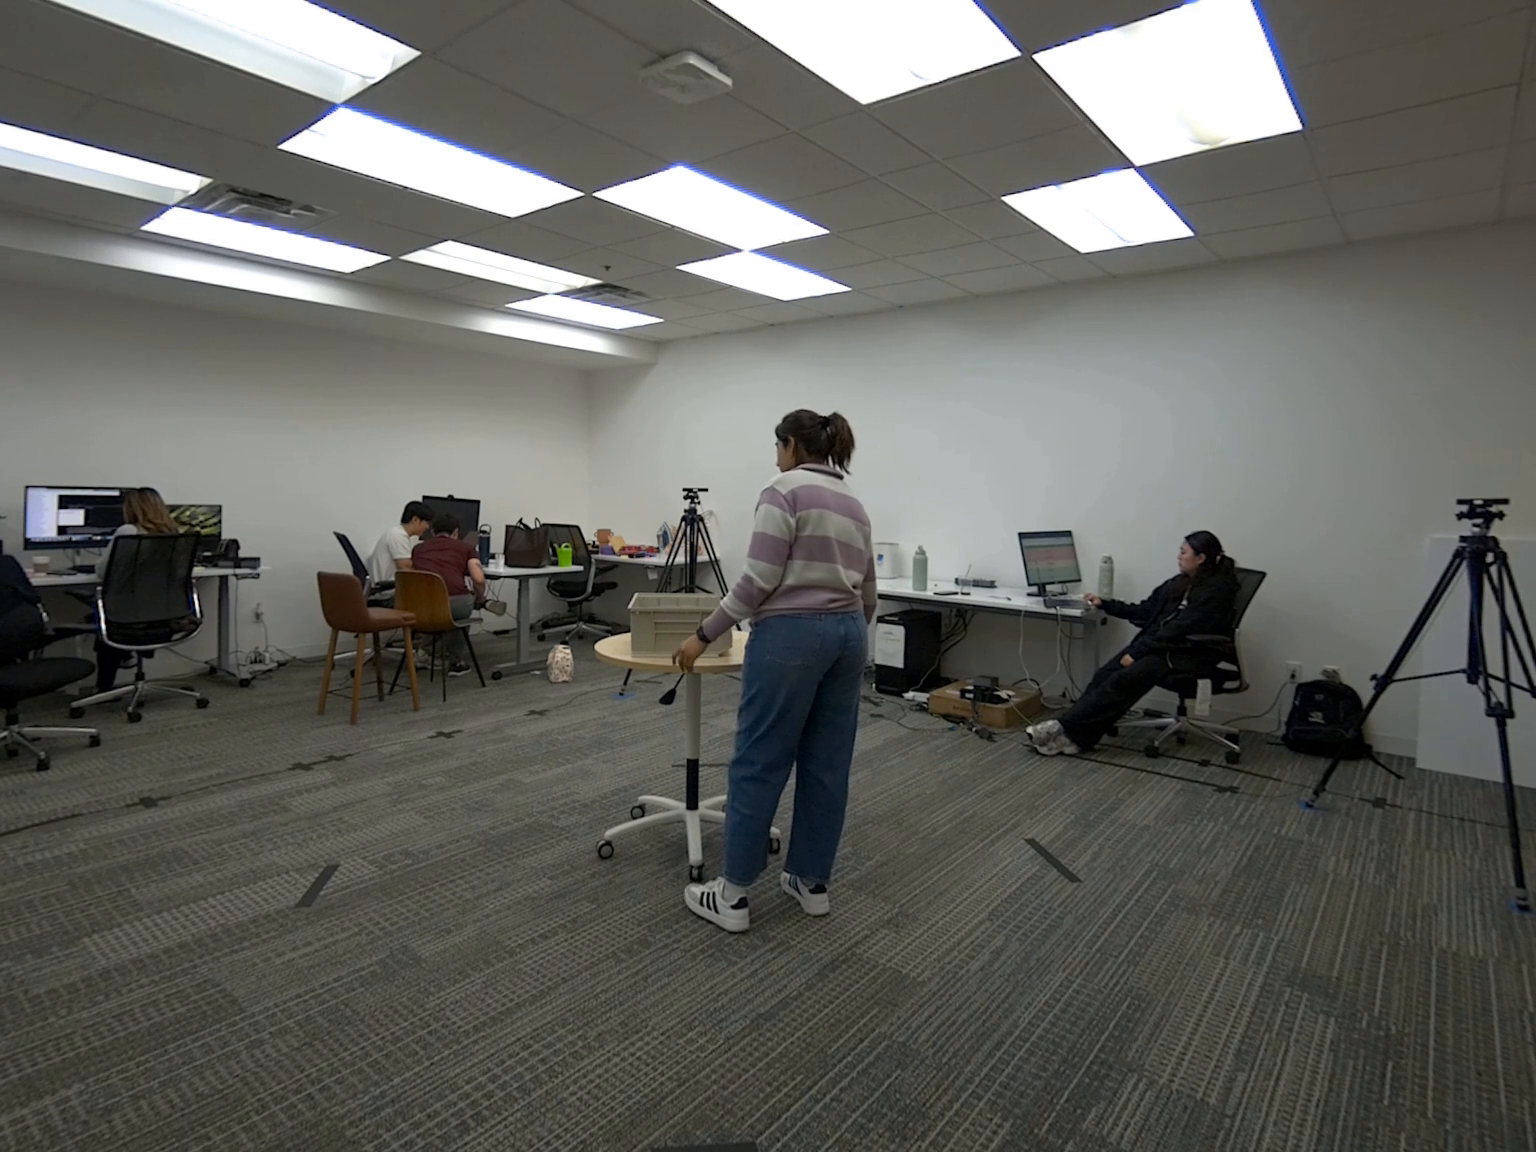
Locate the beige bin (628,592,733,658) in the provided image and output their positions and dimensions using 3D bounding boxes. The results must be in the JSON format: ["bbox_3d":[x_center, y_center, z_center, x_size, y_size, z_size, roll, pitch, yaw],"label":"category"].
[{"bbox_3d":[-0.339,0.181,3.256,0.376,0.188,0.426,0,6,-4],"label":"beige bin"}]
